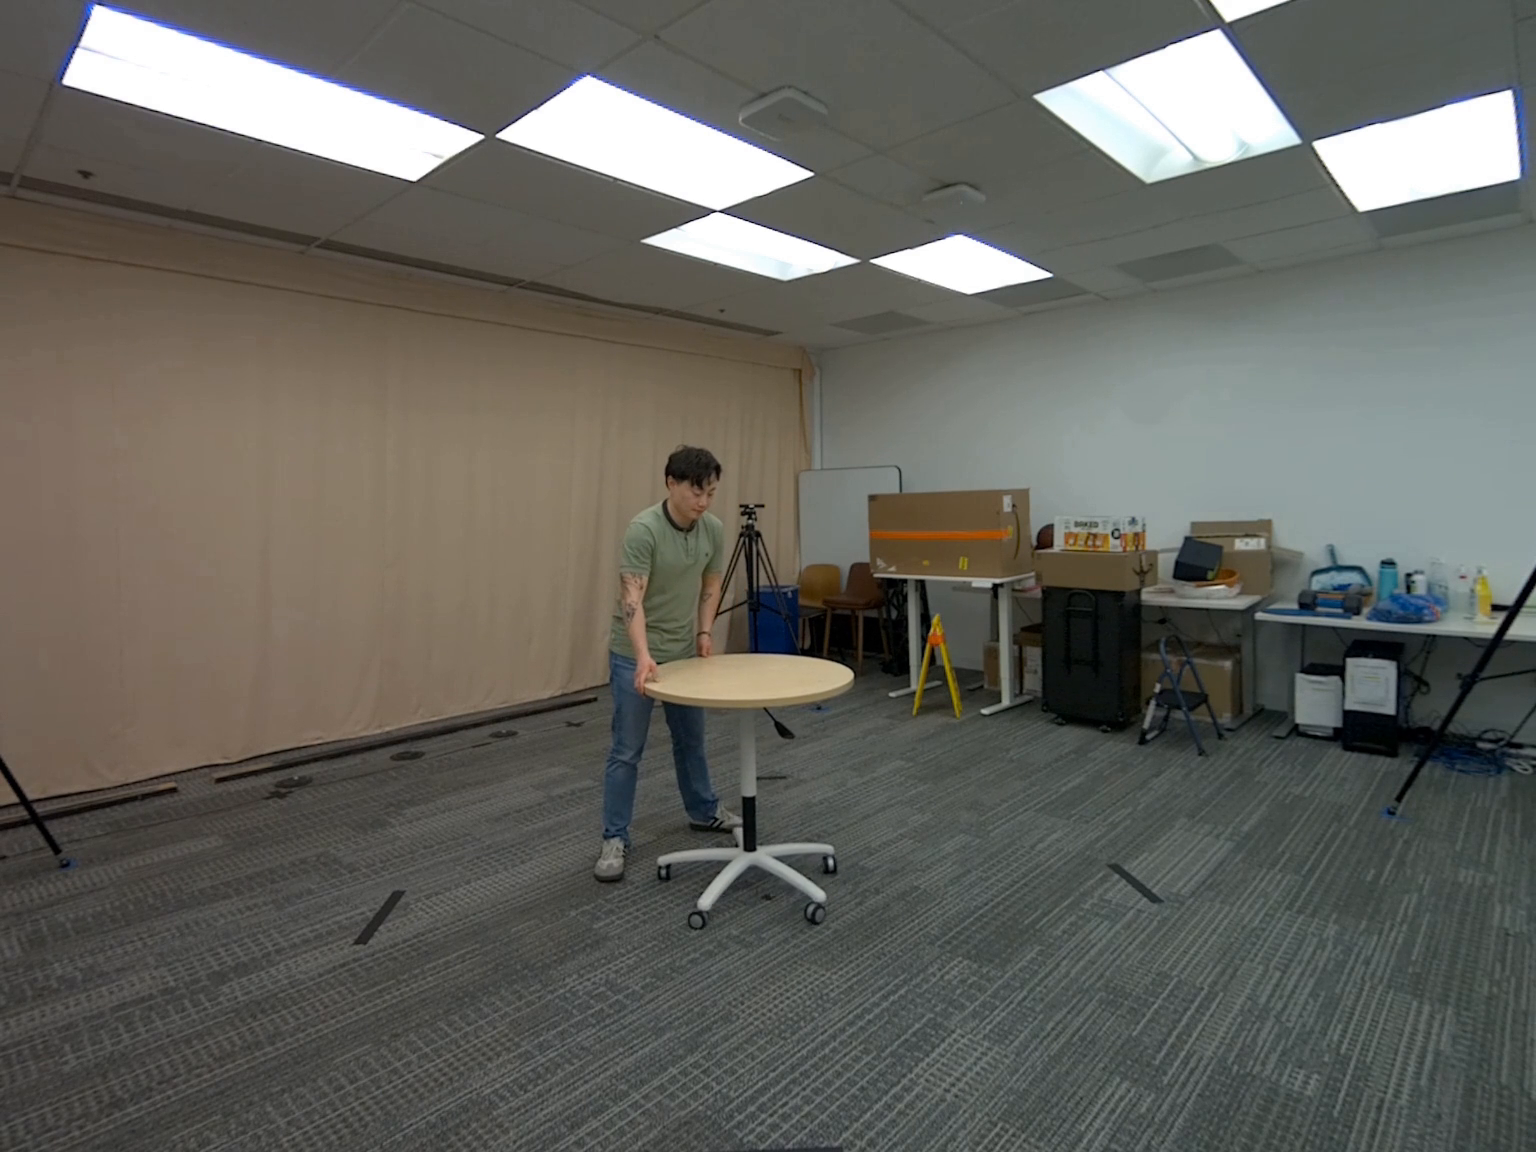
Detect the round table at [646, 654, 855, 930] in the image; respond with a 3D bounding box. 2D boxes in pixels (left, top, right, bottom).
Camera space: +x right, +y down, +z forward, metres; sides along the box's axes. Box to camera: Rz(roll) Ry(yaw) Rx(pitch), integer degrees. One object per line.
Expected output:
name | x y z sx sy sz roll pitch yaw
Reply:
round table | -0.067 0.747 3.033 0.763 0.792 0.767 -2 4 -2
